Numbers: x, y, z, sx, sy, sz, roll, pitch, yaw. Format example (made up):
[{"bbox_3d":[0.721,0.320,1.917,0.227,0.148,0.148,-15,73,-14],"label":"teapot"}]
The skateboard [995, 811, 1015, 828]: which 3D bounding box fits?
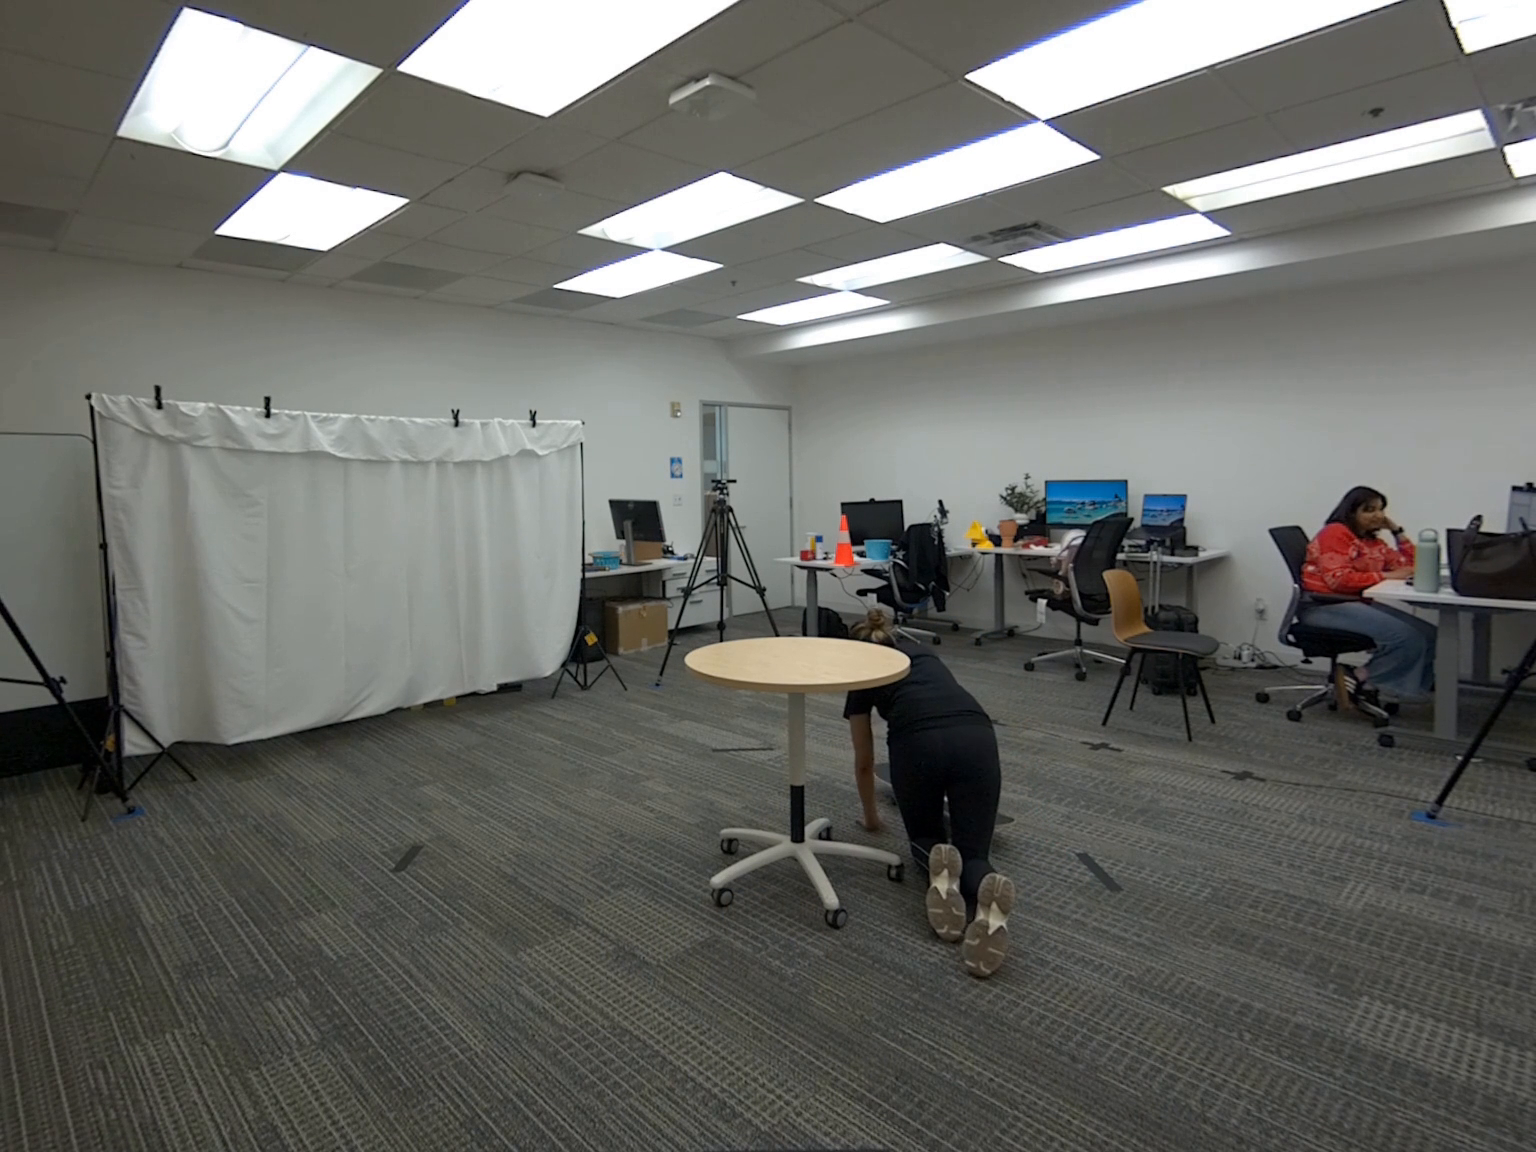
[{"bbox_3d":[0.711,0.936,3.512,0.189,0.110,0.805,-2,6,-25],"label":"skateboard"}]
